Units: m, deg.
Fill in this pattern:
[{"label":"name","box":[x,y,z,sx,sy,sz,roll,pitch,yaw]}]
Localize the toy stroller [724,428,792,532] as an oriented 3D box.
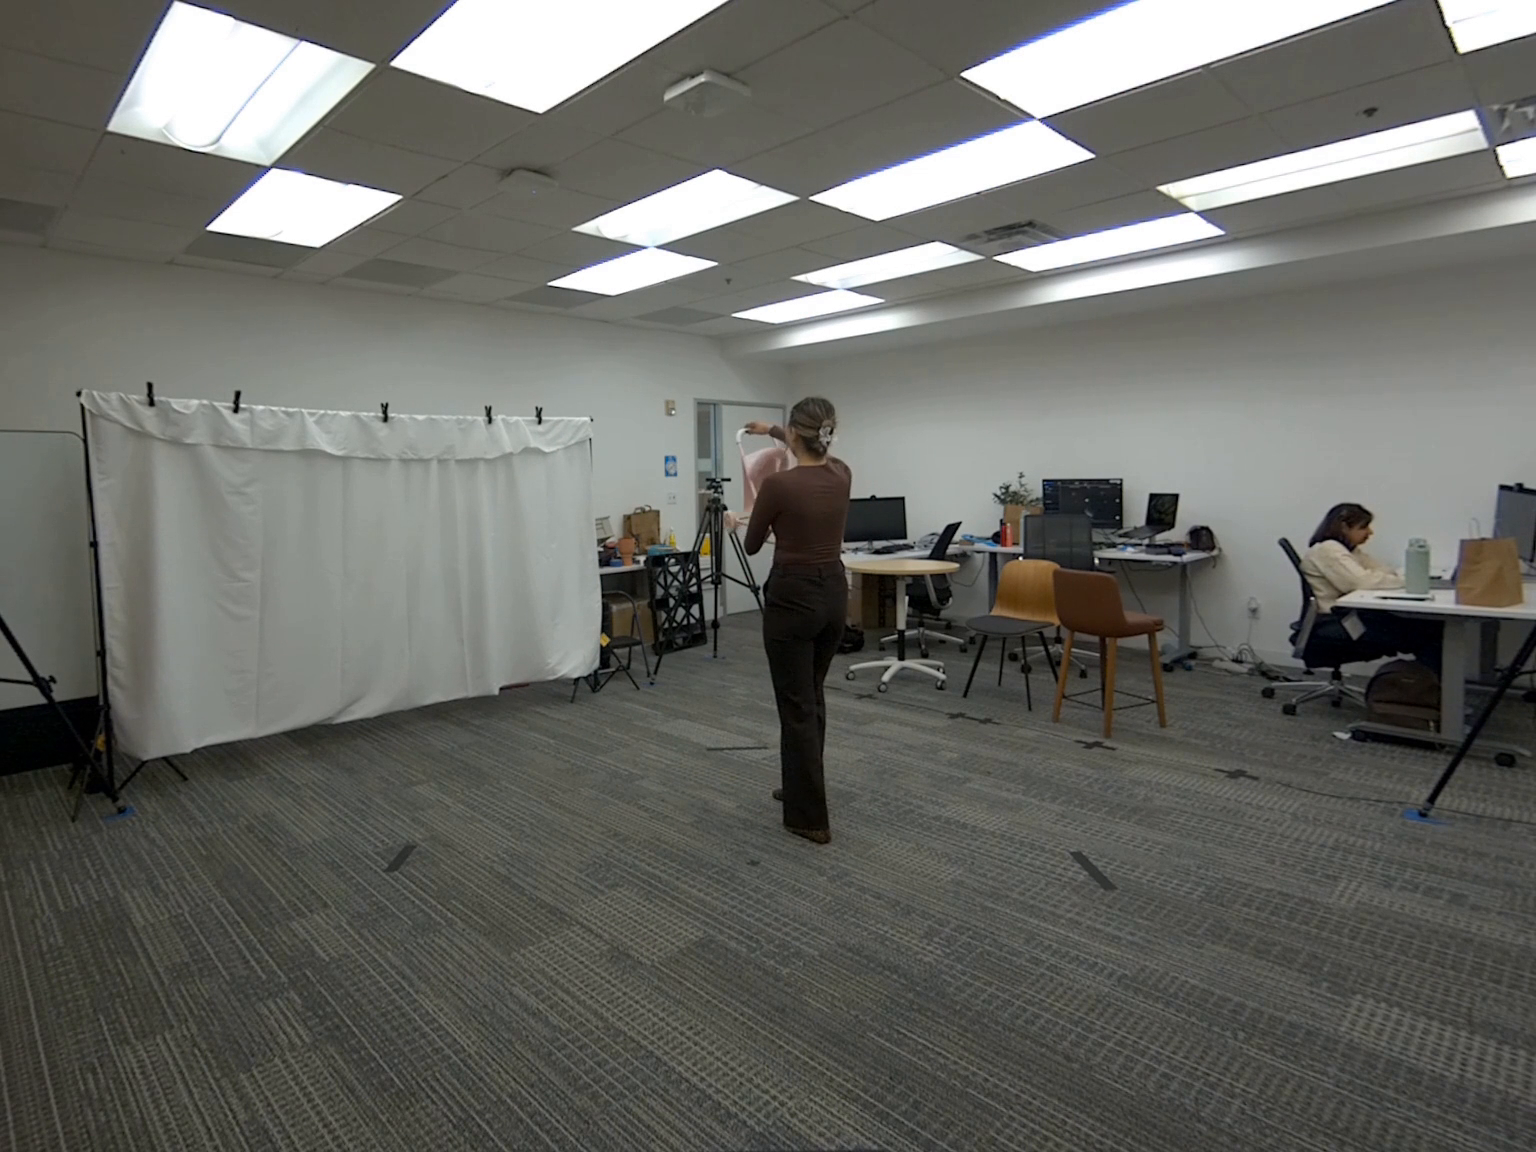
[{"label":"toy stroller","box":[-0.006,-0.368,3.878,0.276,0.525,0.354,-8,26,-26]}]
